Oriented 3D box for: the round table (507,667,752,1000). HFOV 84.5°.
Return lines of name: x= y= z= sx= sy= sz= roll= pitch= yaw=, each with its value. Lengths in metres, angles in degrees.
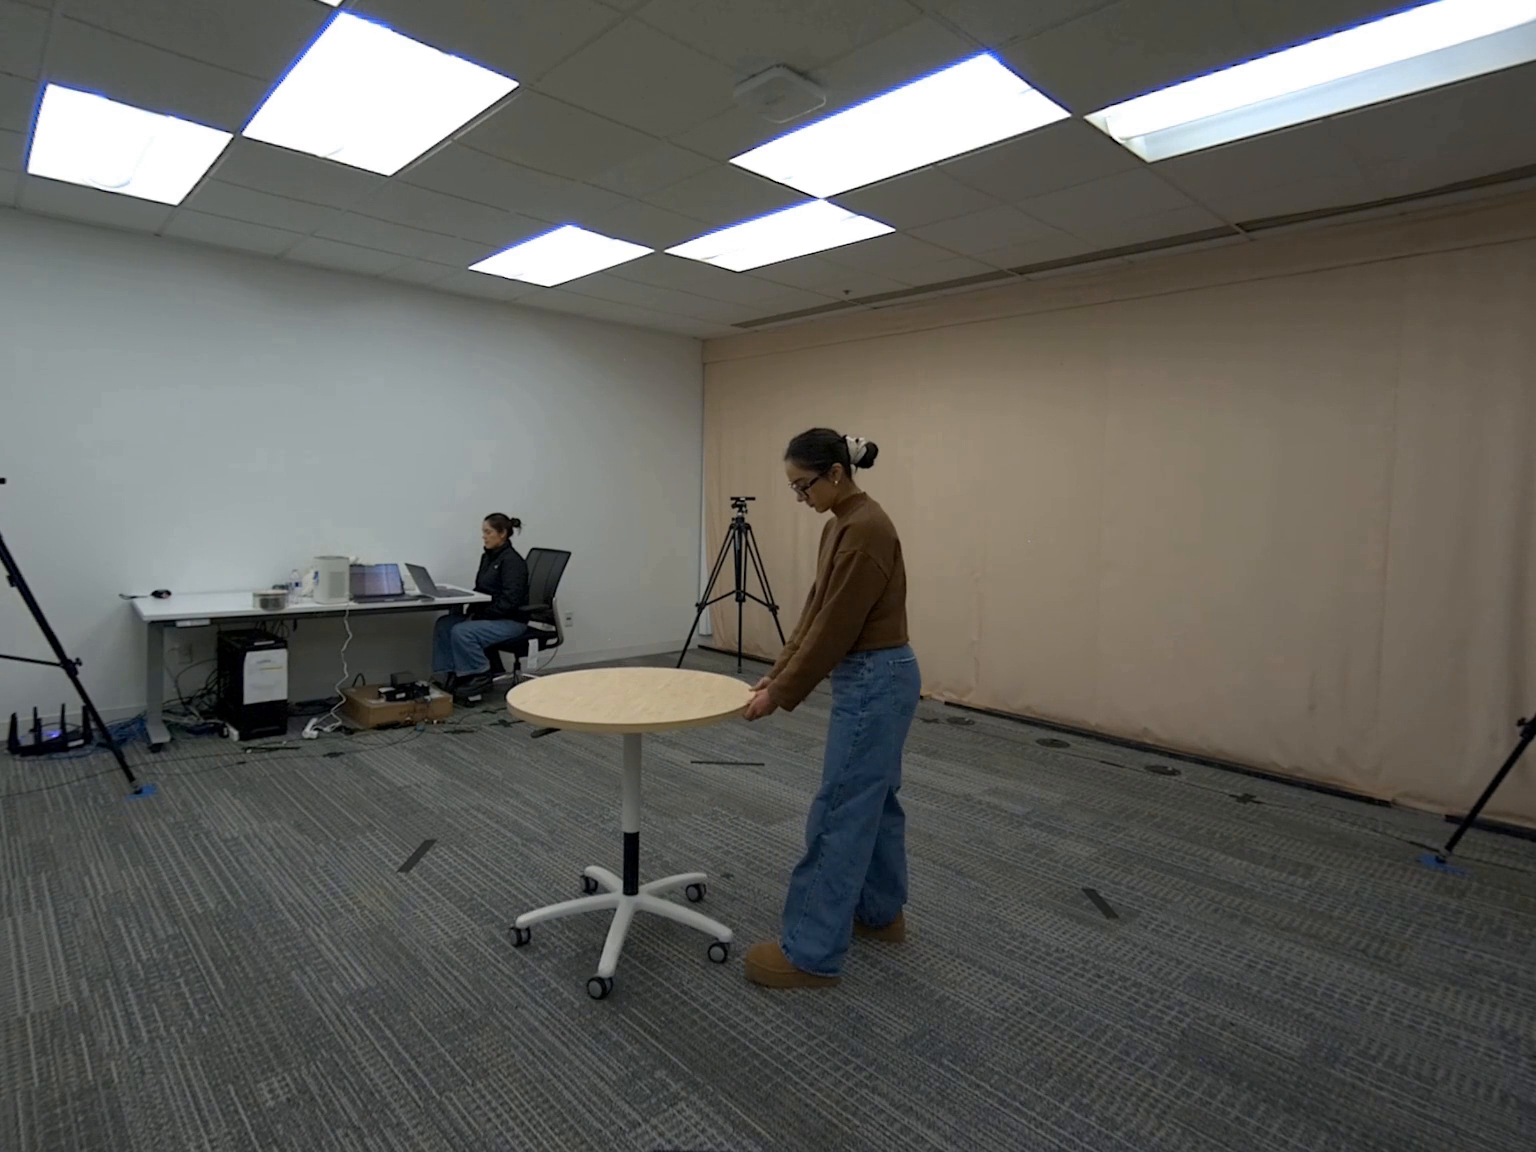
round table: x=-0.432 y=0.754 z=2.650 sx=0.763 sy=0.792 sz=0.767 roll=1 pitch=4 yaw=-1
